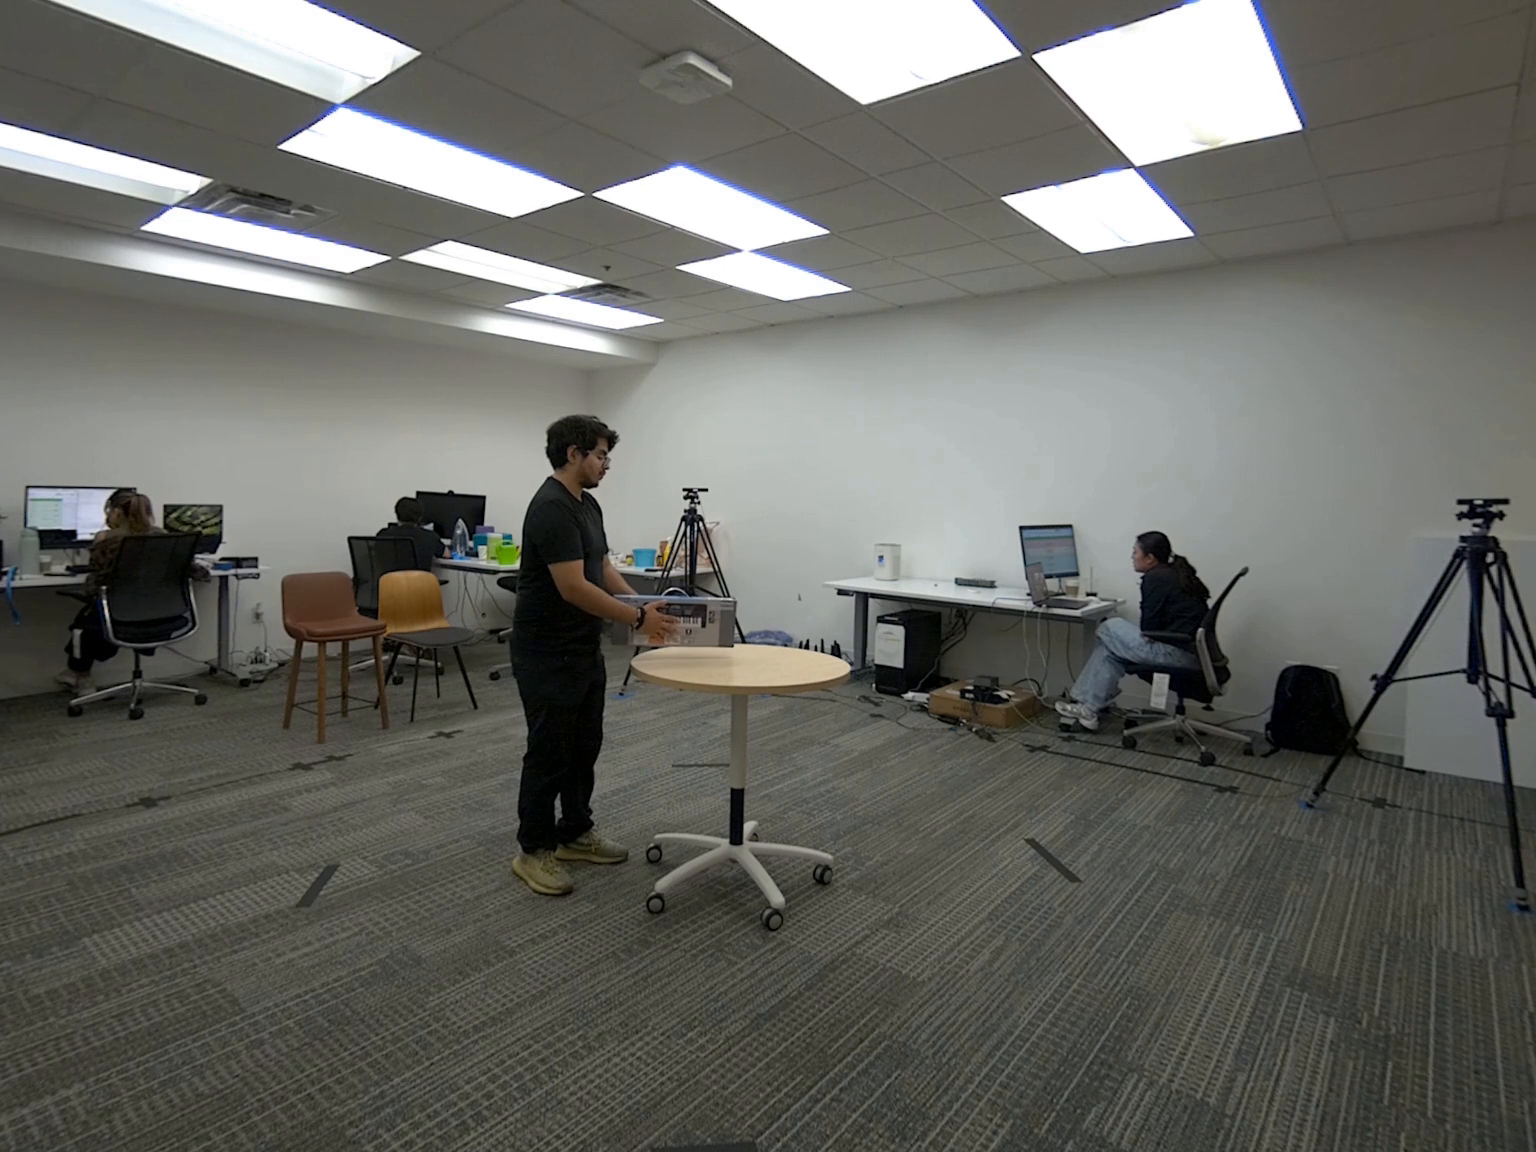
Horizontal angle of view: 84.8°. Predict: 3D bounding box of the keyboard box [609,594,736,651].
[{"bbox_3d":[-0.345,0.164,3.026,0.433,0.176,0.060,3,1,-8],"label":"keyboard box"}]
